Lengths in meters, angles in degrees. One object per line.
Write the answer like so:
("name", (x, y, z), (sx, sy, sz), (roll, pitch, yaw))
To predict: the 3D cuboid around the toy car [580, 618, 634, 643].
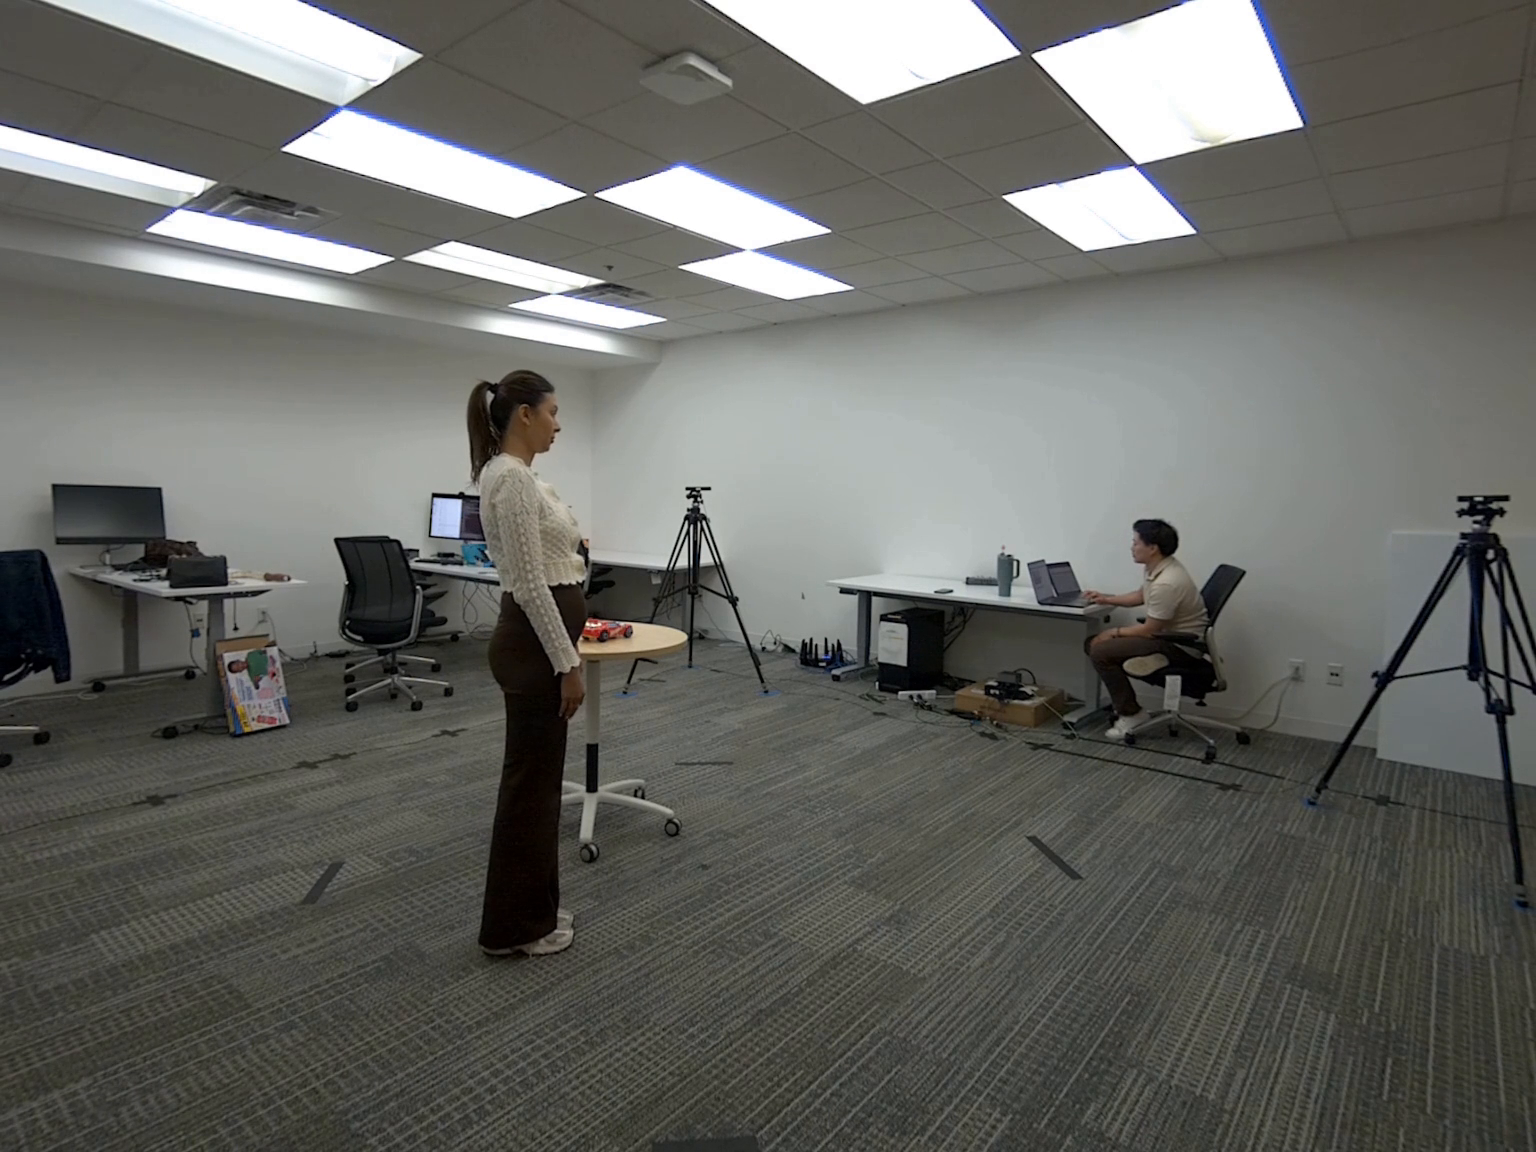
("toy car", (-0.673, 0.218, 3.389), (0.134, 0.083, 0.245), (4, -5, 35))
